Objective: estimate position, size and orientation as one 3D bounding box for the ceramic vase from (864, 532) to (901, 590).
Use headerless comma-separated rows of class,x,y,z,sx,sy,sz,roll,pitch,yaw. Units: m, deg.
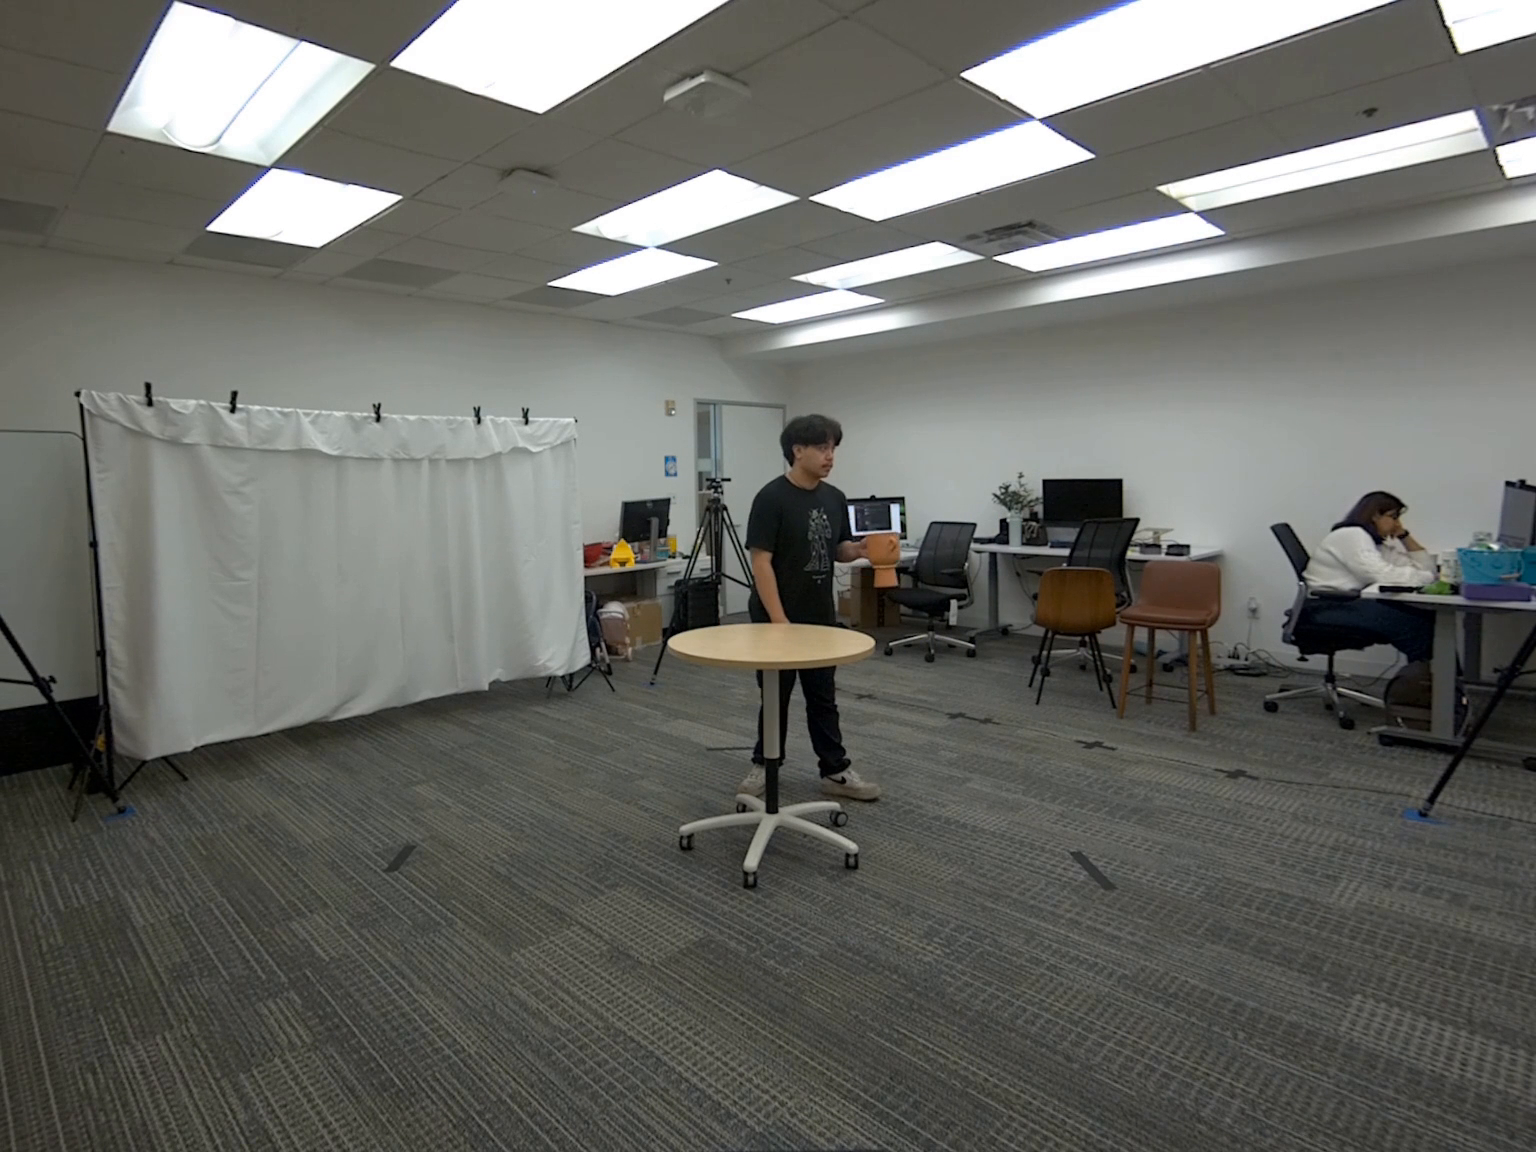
ceramic vase,0.480,-0.067,3.510,0.137,0.220,0.156,-3,0,22
